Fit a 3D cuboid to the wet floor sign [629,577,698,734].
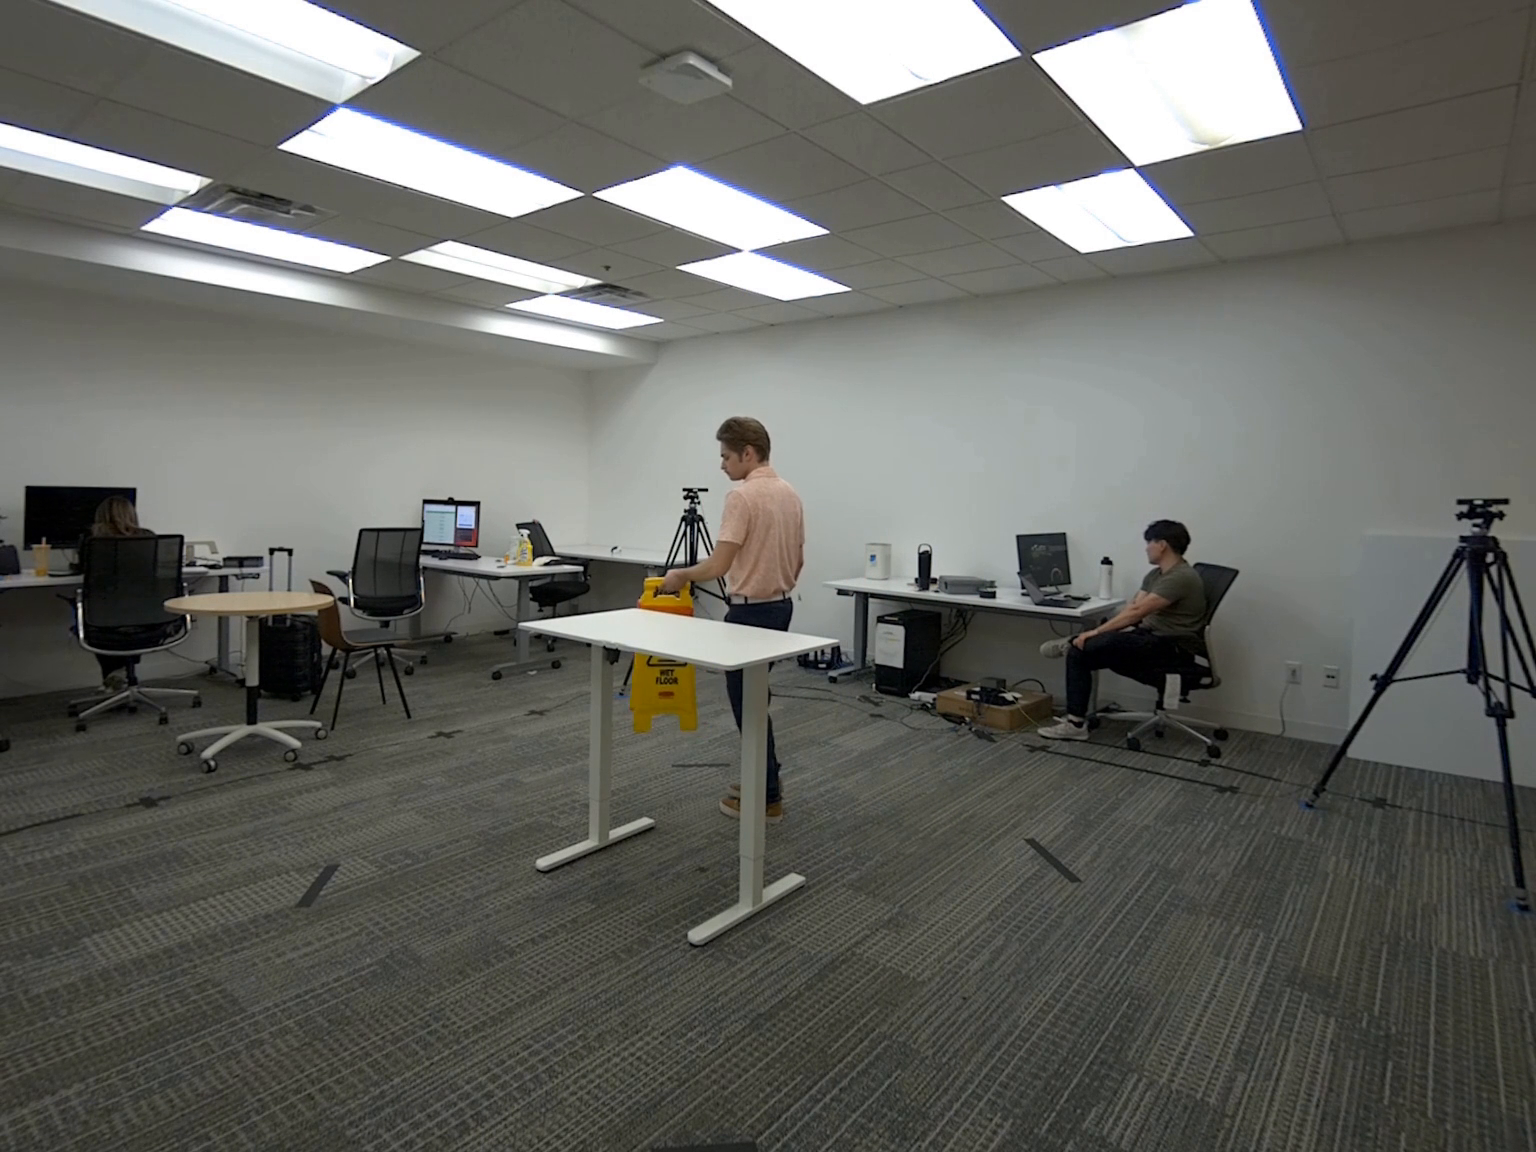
[{"bbox_3d":[-0.468,0.325,3.743,0.279,0.640,0.296,1,11,-11],"label":"wet floor sign"}]
